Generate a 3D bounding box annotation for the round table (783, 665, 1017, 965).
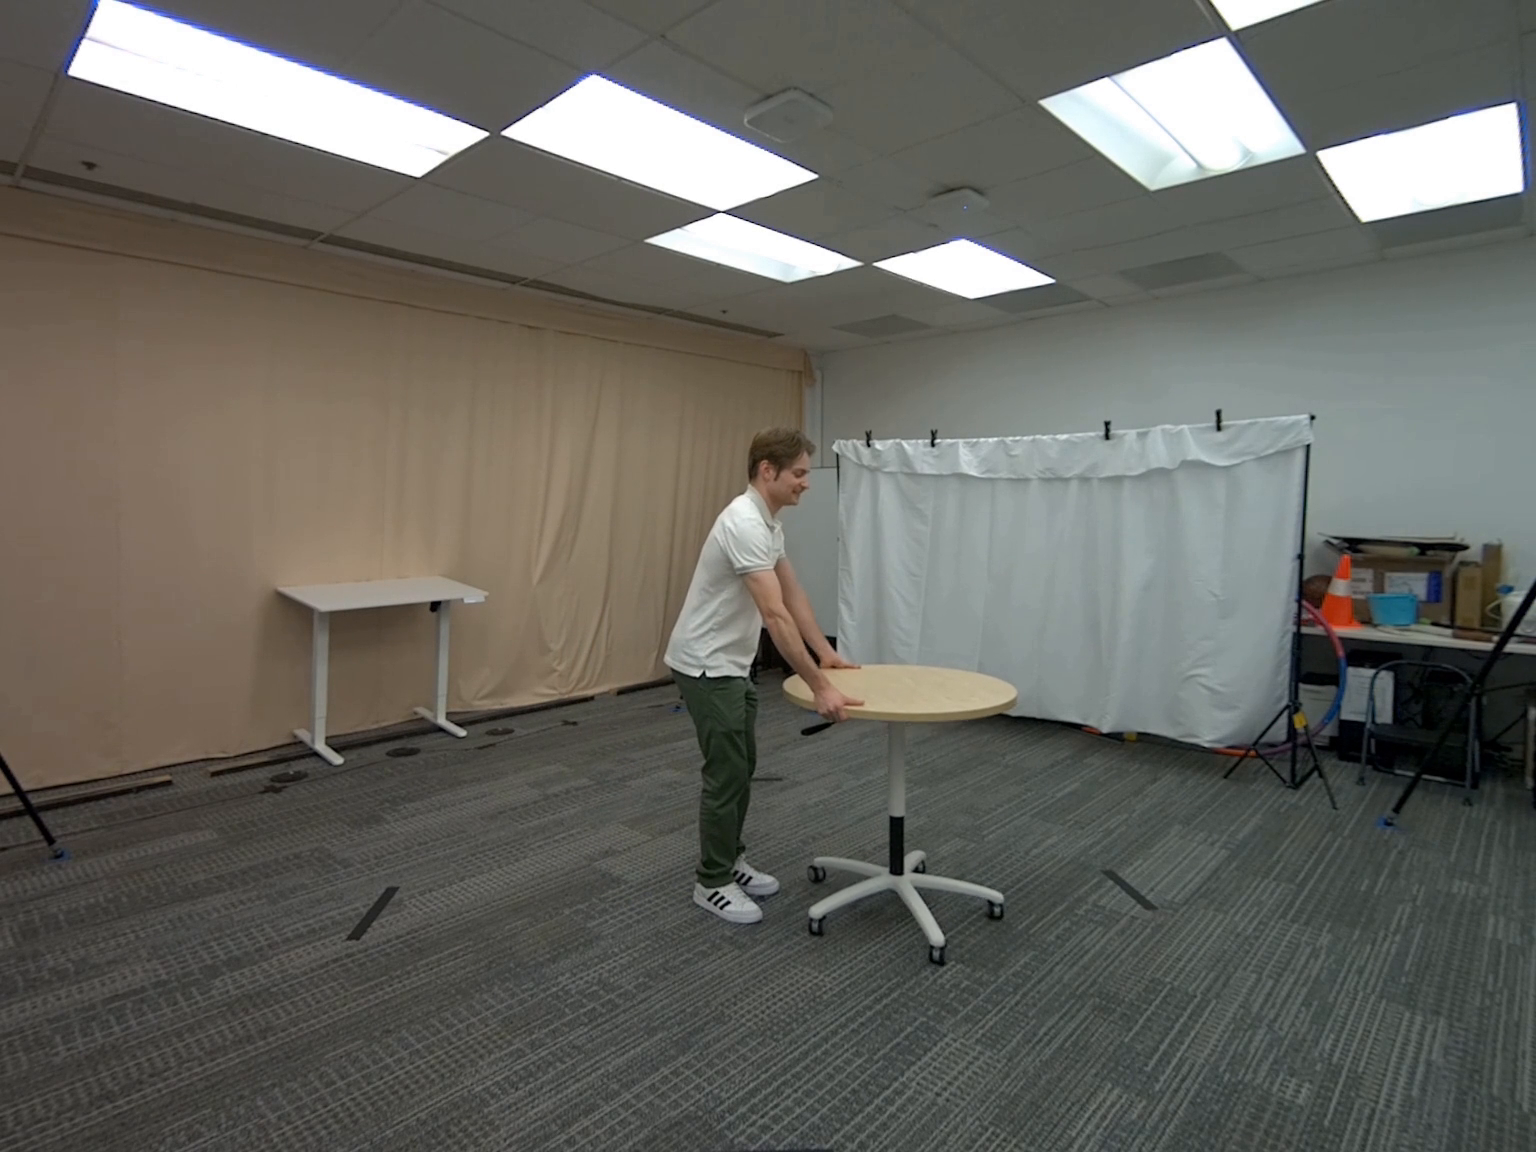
[{"bbox_3d":[0.440,0.764,2.850,0.763,0.792,0.767,0,4,-2],"label":"round table"}]
